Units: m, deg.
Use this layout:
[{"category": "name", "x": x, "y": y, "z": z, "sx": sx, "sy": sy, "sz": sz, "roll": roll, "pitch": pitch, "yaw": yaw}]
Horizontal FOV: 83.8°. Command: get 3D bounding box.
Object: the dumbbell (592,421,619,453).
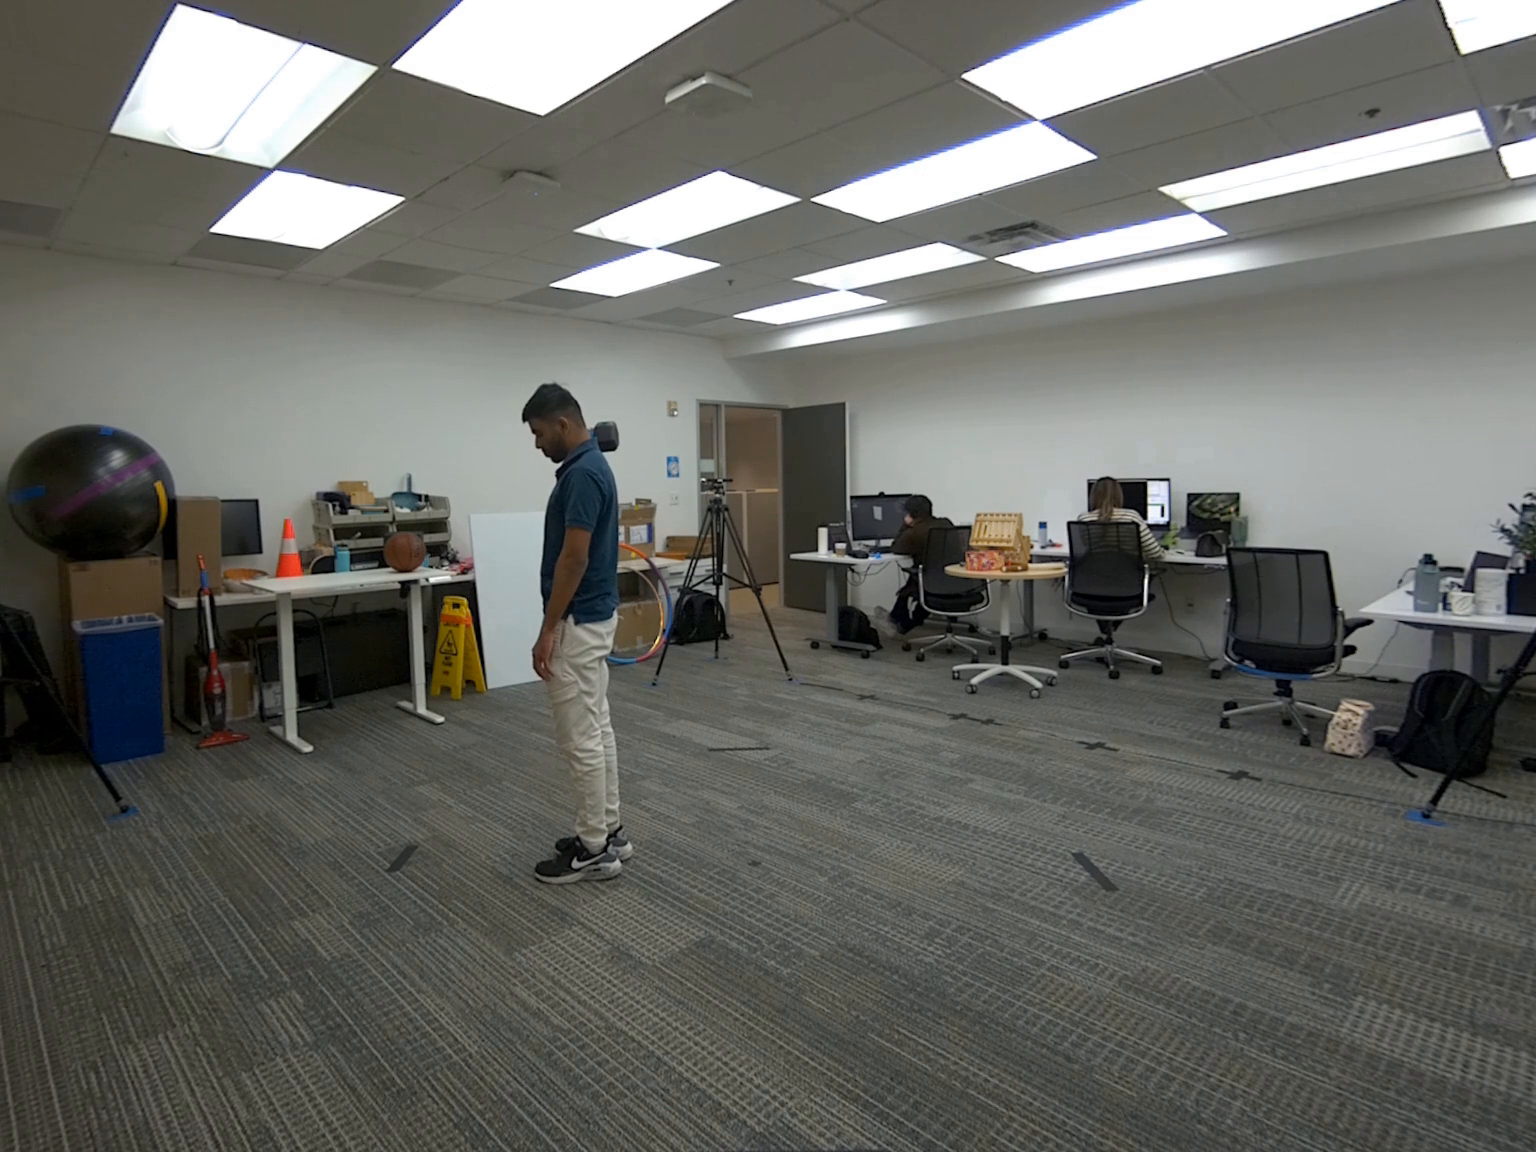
[{"category": "dumbbell", "x": -0.728, "y": -0.540, "z": 3.333, "sx": 0.295, "sy": 0.106, "sz": 0.125, "roll": -6, "pitch": 22, "yaw": 4}]
